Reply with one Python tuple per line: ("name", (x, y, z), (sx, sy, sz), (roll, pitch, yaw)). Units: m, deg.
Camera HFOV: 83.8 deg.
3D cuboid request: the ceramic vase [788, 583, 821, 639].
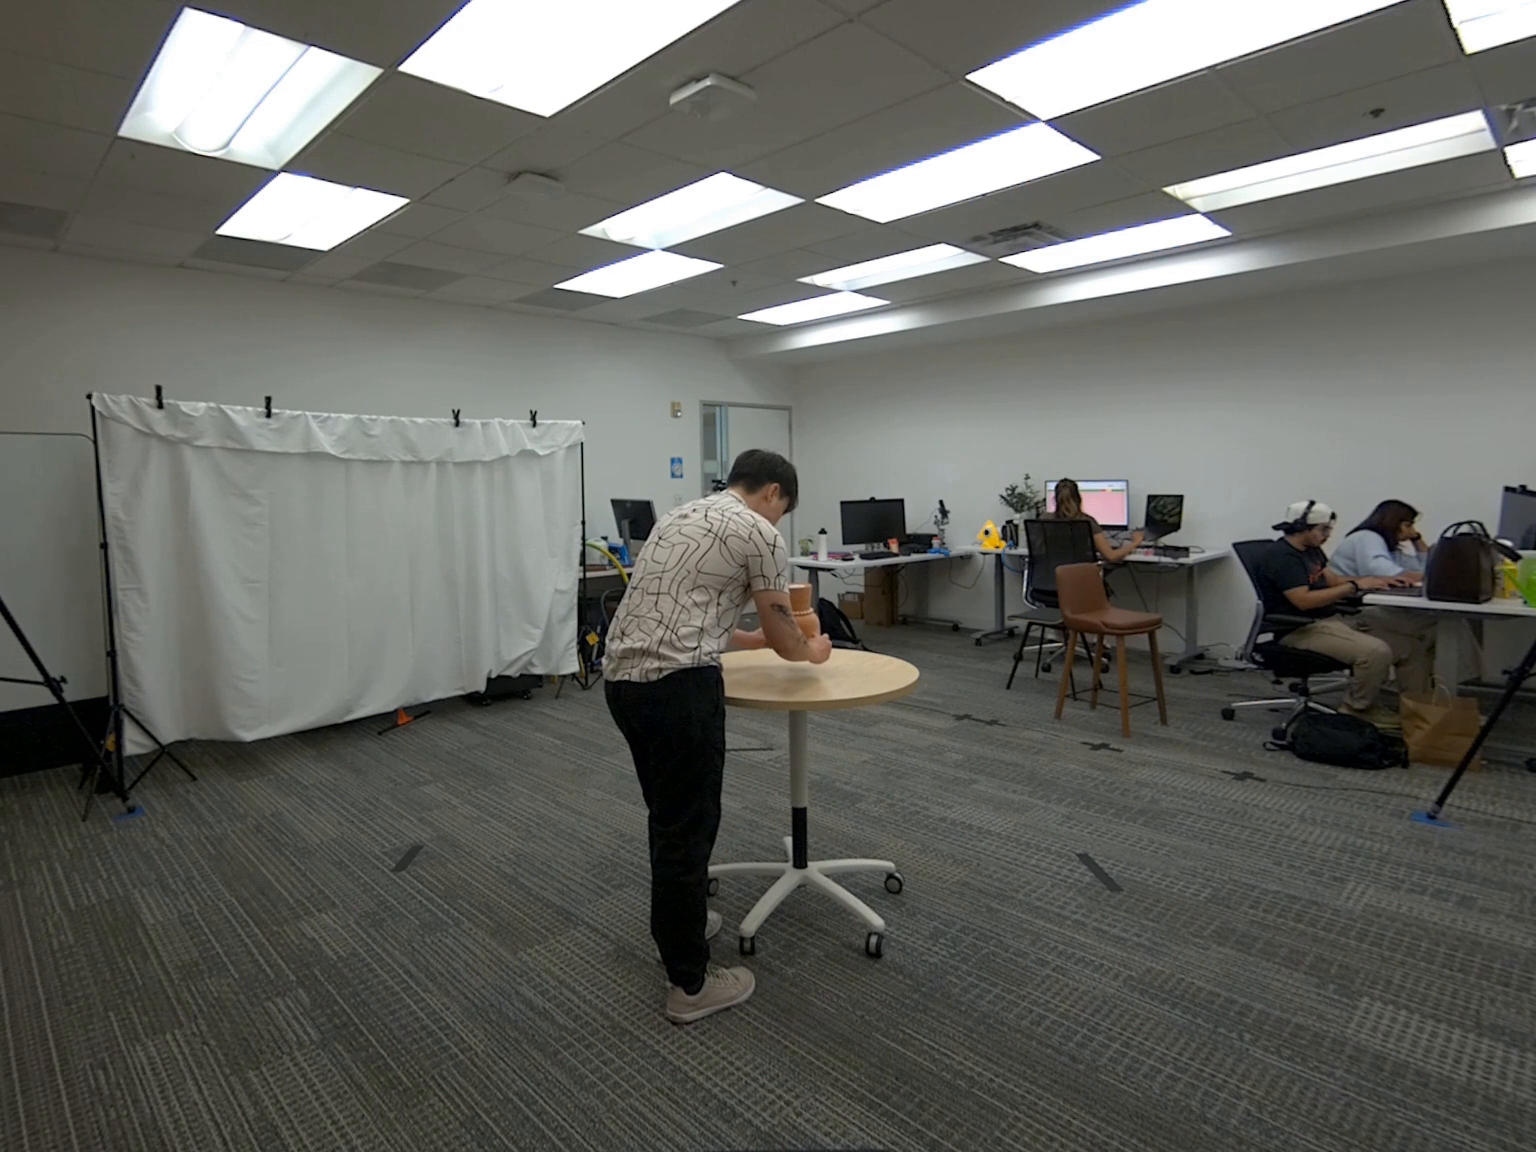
("ceramic vase", (0.102, 0.141, 2.722), (0.161, 0.218, 0.134), (-1, 8, 12))
